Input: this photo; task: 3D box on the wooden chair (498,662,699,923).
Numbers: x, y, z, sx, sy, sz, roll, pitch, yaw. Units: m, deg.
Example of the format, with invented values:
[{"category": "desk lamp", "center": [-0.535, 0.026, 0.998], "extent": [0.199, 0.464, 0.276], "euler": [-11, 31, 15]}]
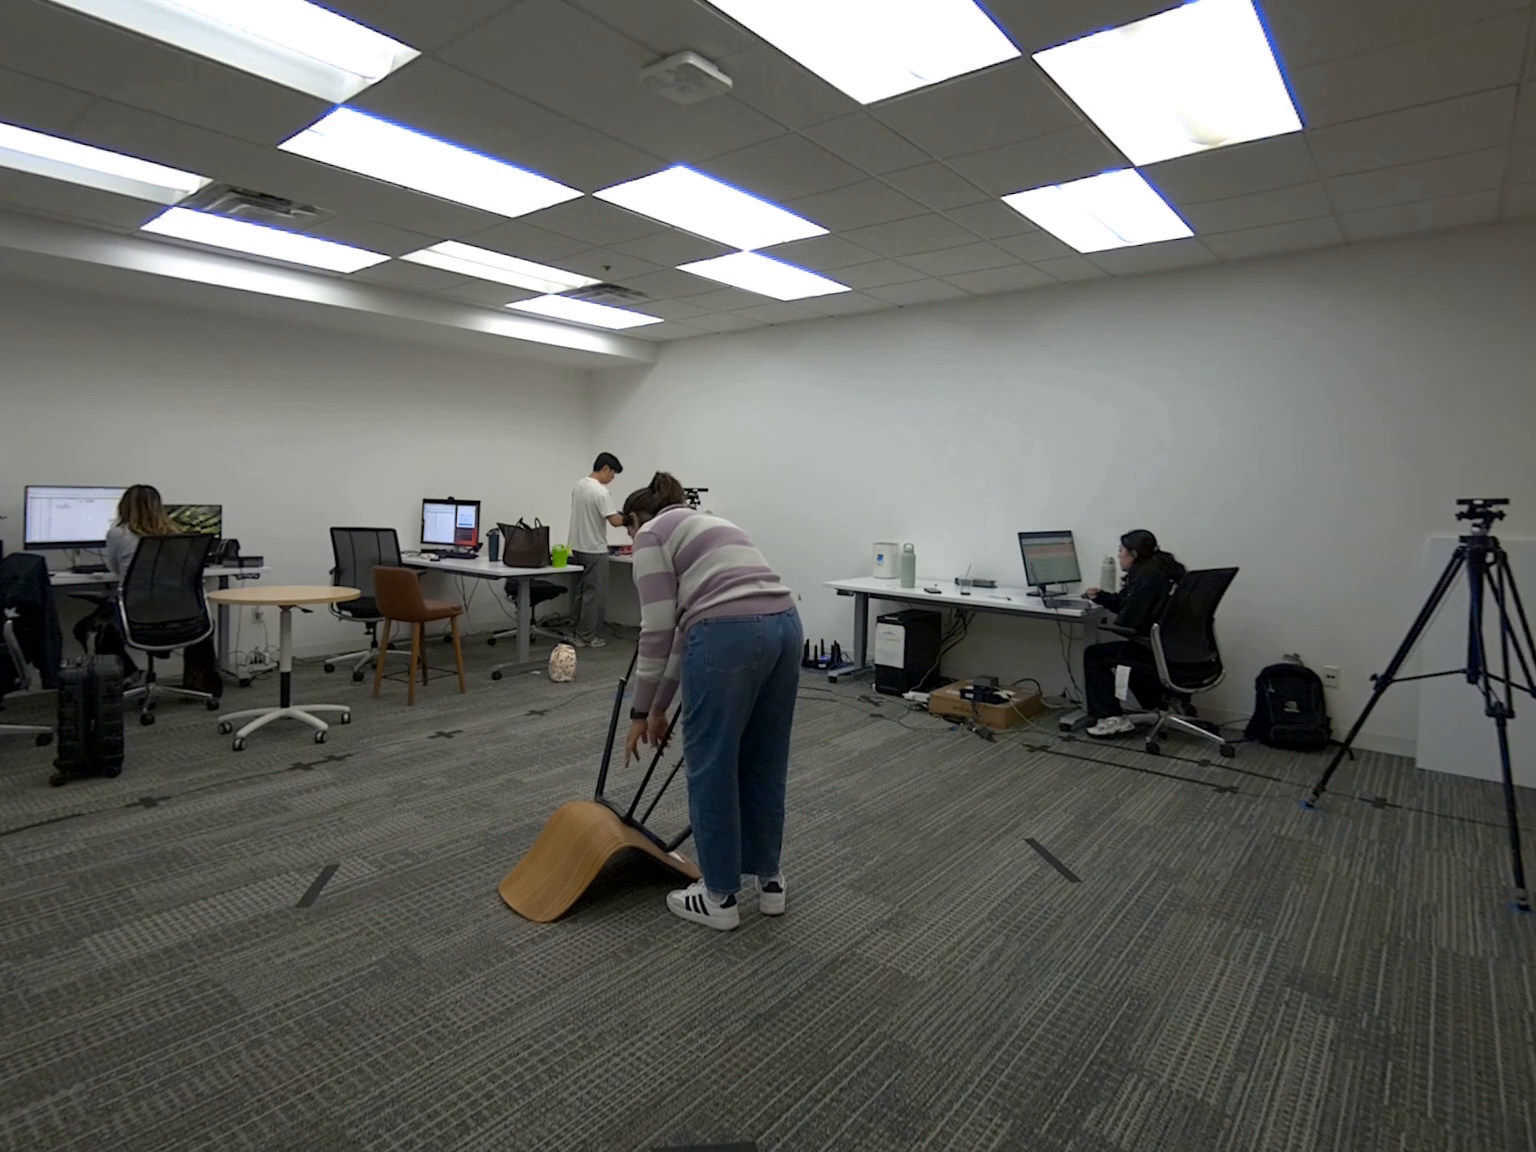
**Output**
[{"category": "wooden chair", "center": [-0.495, 0.898, 3.078], "extent": [0.494, 0.880, 0.504], "euler": [5, -35, 53]}]
